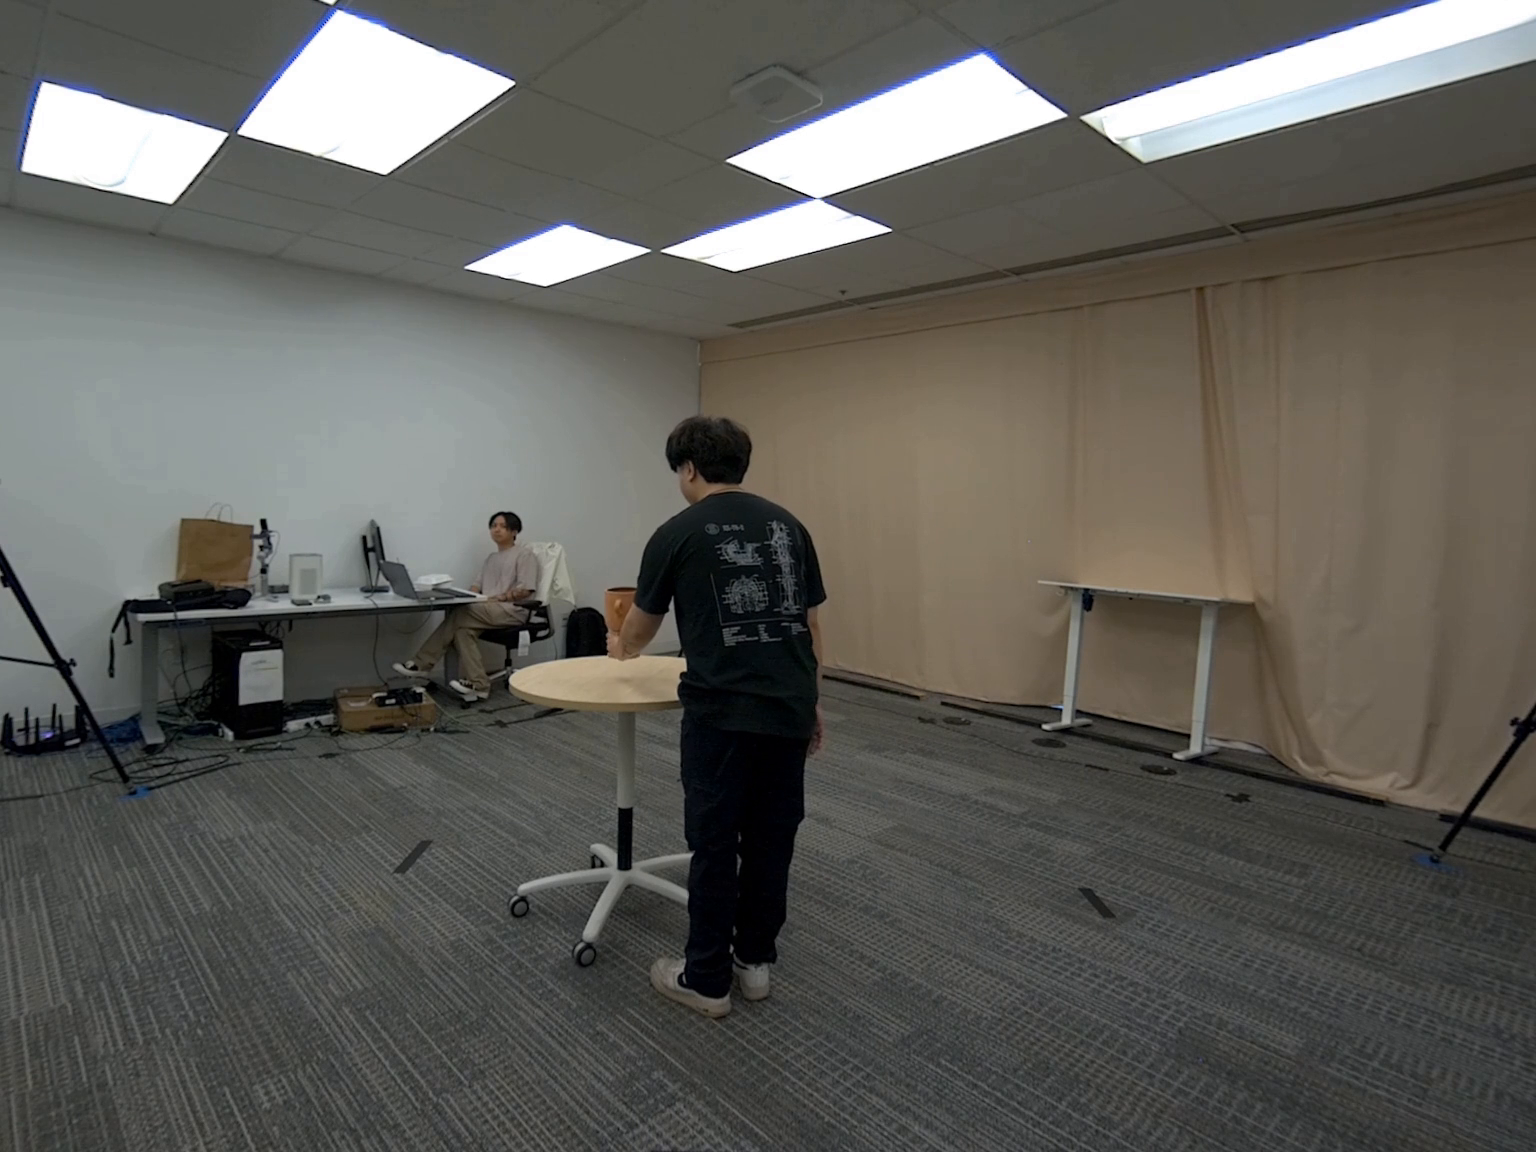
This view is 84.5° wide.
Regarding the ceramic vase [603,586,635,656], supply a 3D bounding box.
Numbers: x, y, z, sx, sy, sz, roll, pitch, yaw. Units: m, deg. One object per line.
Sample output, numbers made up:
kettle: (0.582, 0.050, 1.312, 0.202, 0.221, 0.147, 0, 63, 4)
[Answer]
ceramic vase: (-0.467, 0.153, 2.733, 0.155, 0.219, 0.138, -5, 7, -44)
